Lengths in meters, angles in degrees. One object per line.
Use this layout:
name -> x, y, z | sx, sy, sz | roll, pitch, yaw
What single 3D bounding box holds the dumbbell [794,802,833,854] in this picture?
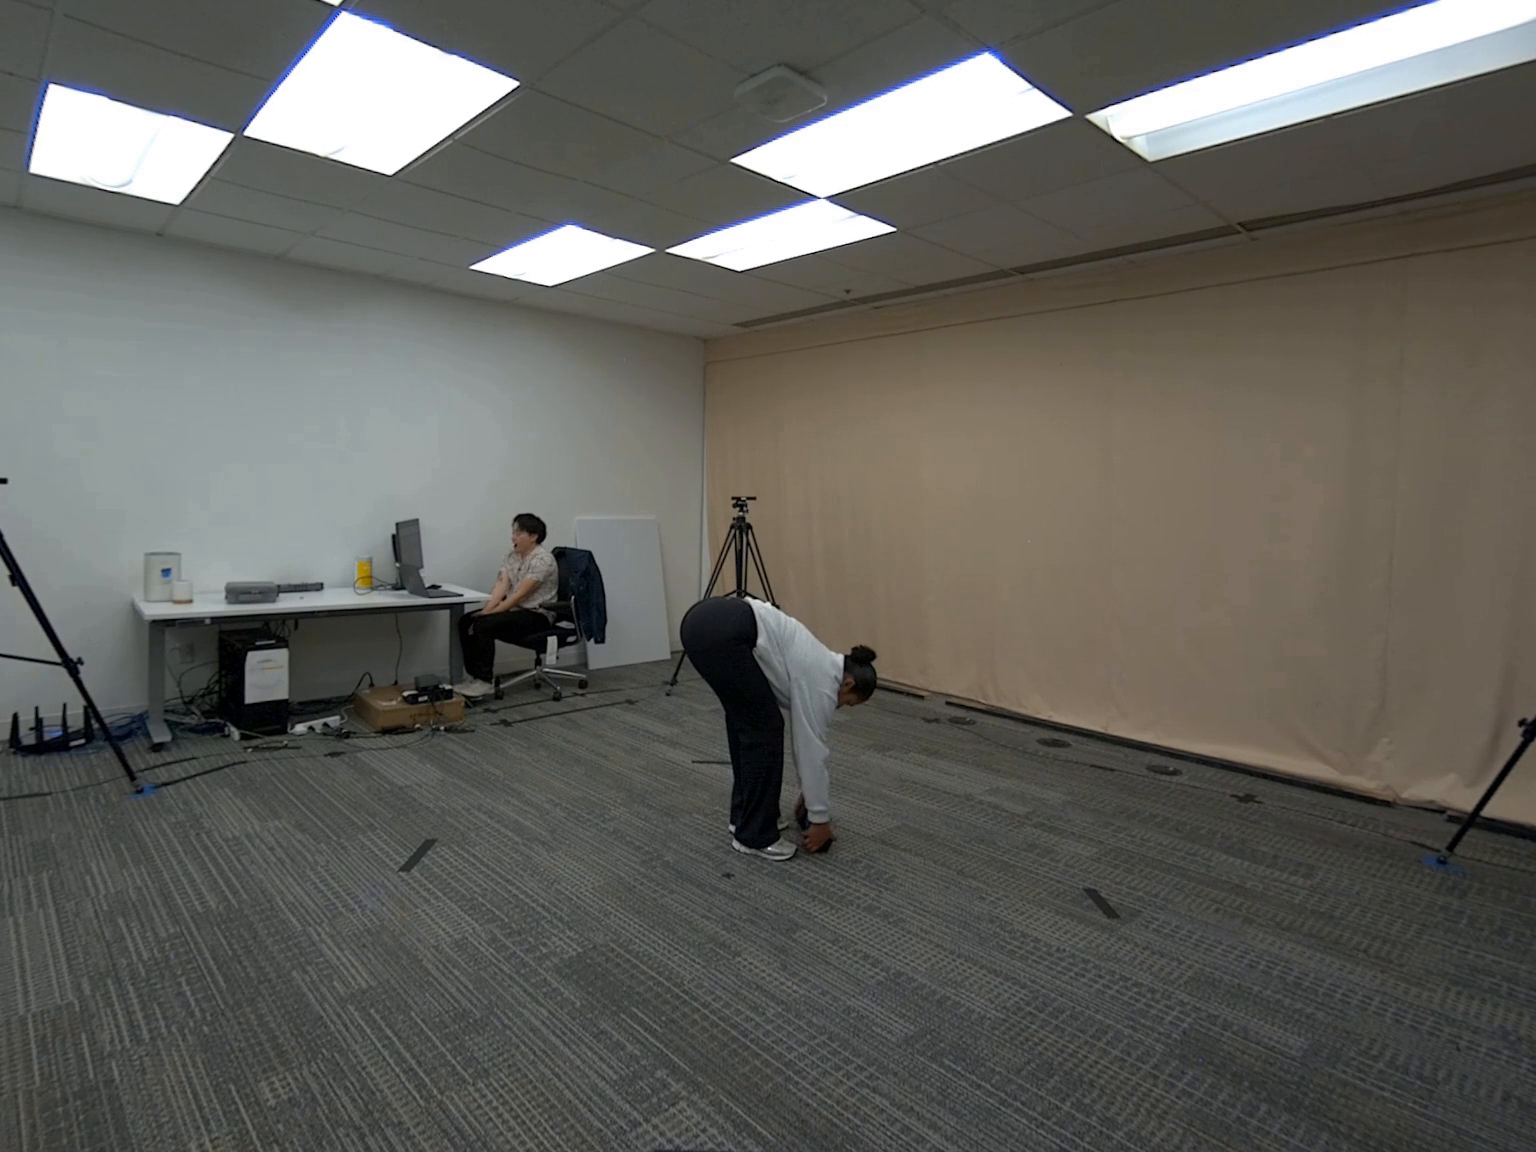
dumbbell -> 0.159, 1.035, 3.468 | 0.108, 0.123, 0.295 | 30, 2, -5
